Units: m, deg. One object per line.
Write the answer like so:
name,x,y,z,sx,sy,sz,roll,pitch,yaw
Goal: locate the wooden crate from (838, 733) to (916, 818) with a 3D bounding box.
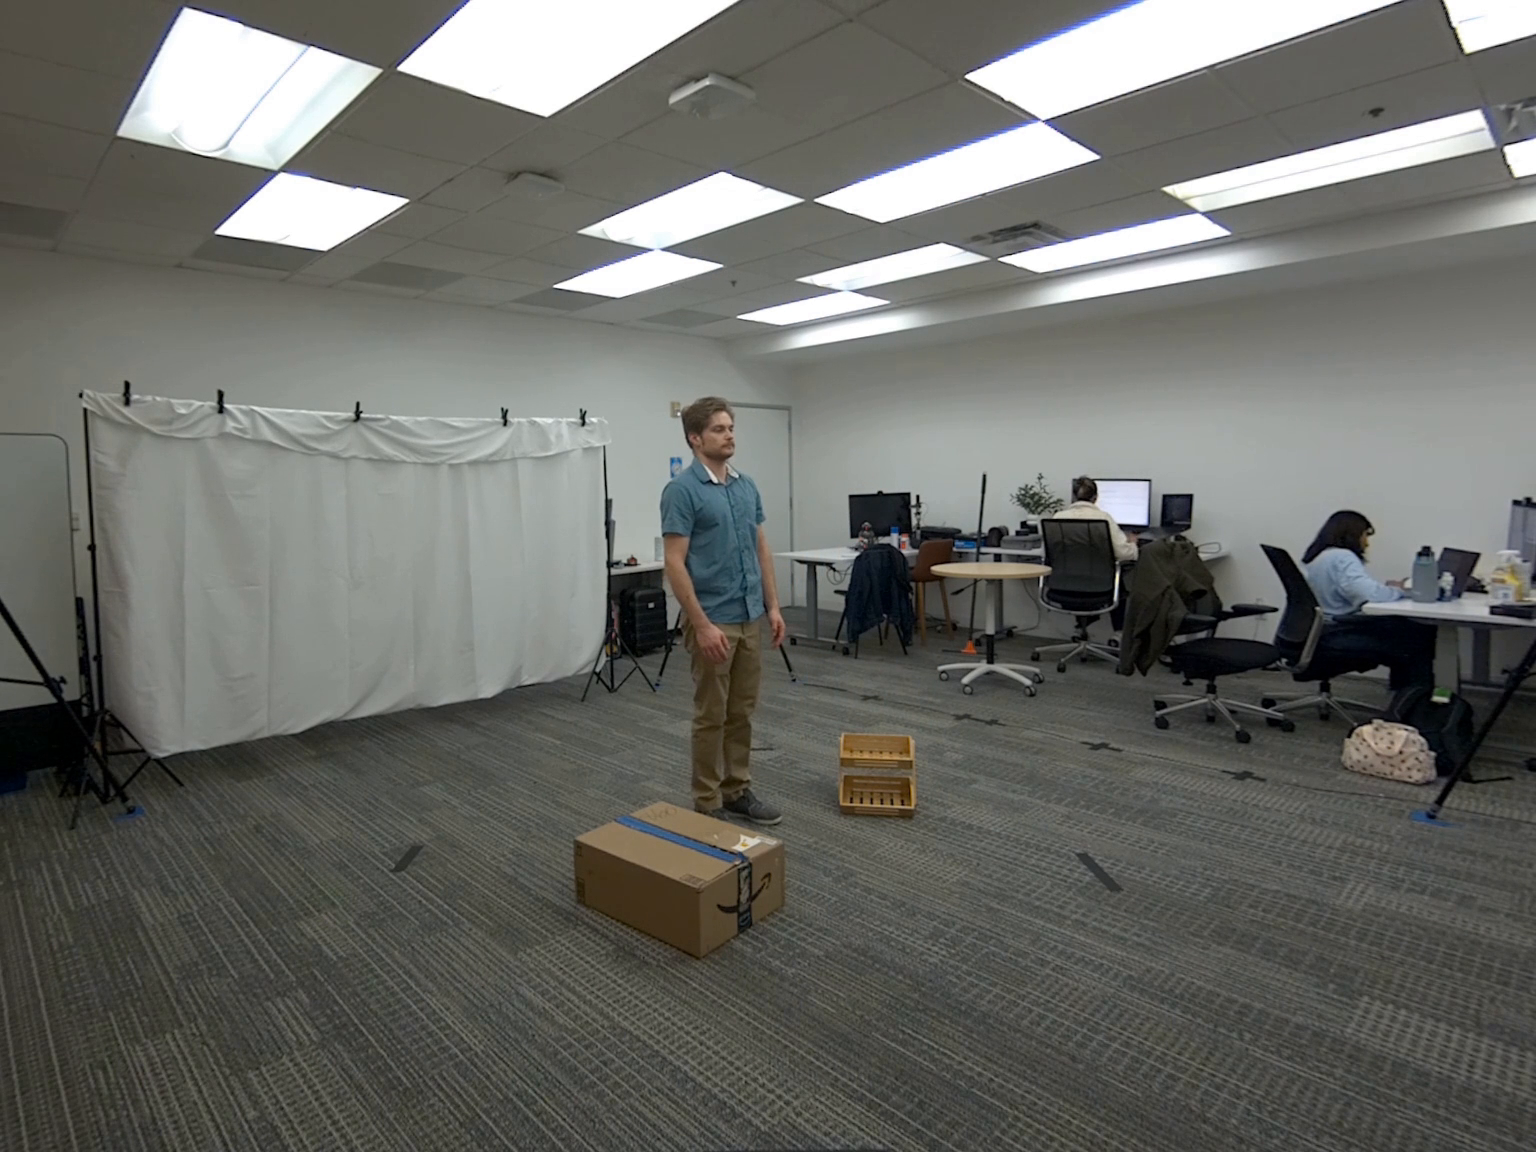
wooden crate,0.467,0.843,3.650,0.327,0.272,0.300,0,5,8
